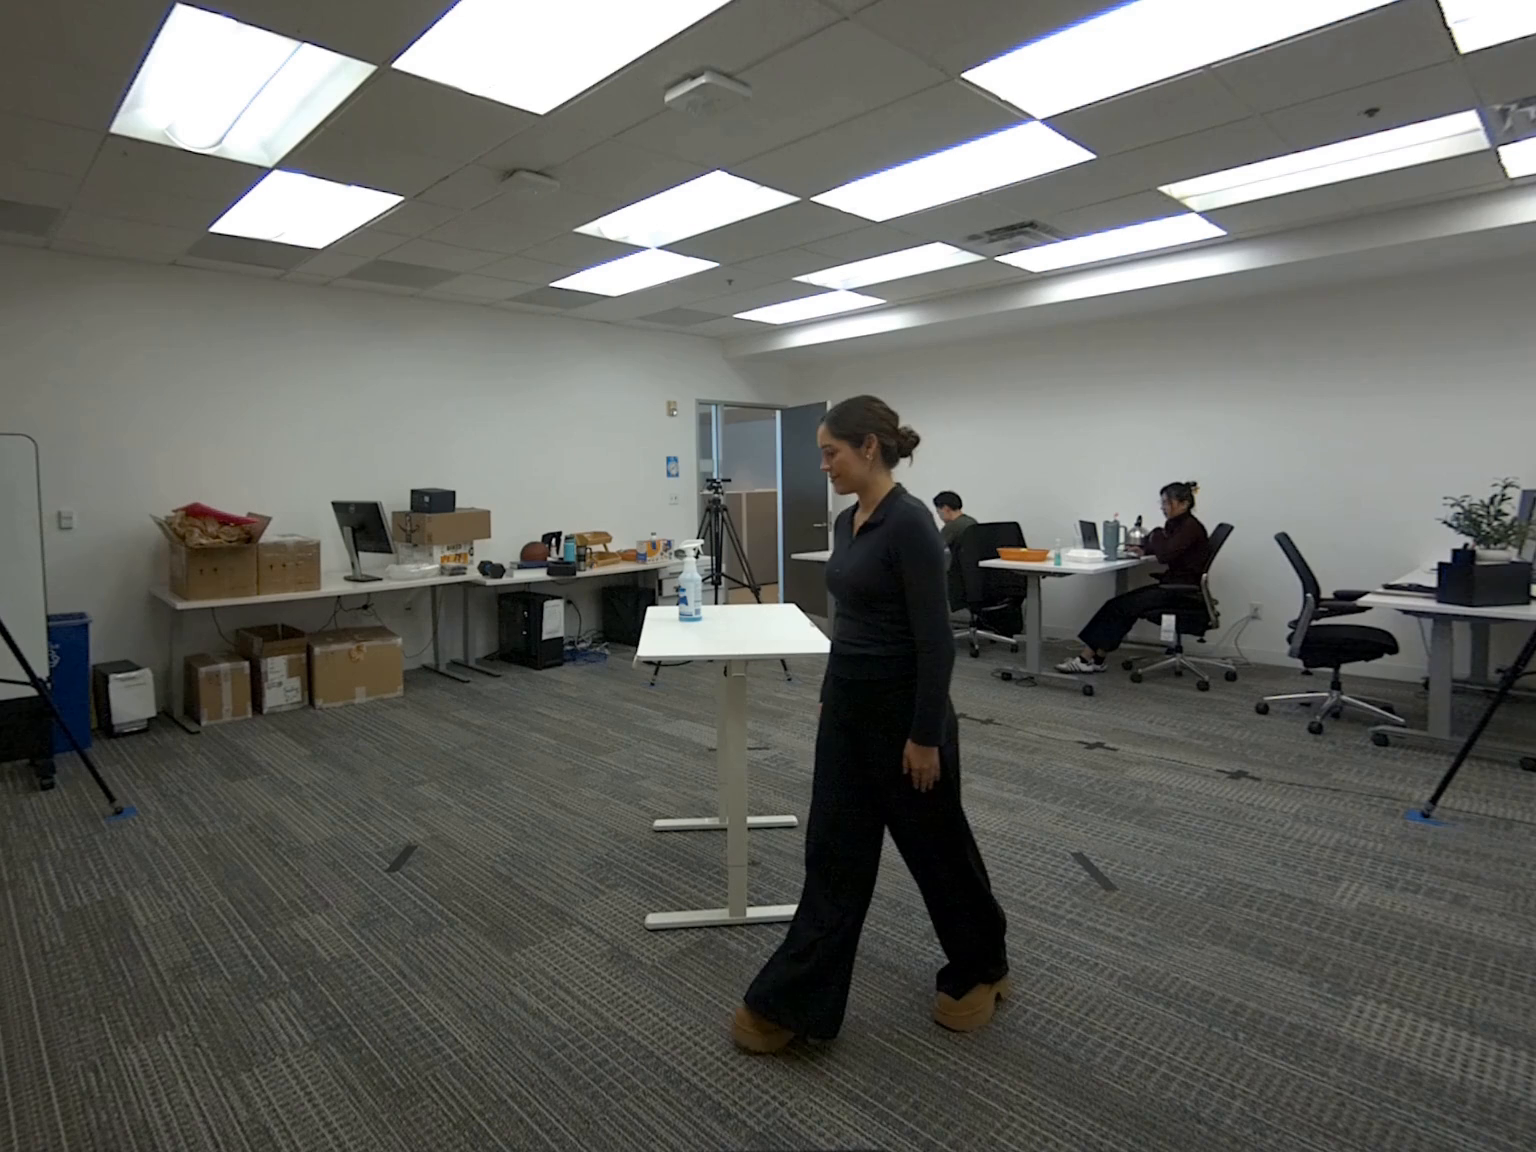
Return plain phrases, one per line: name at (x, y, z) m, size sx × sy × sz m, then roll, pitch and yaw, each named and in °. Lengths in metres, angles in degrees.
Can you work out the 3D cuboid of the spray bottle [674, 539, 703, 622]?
spray bottle at (-0.283, 0.017, 3.138) m, size 0.092 × 0.297 × 0.085 m, roll 3°, pitch 3°, yaw 18°
